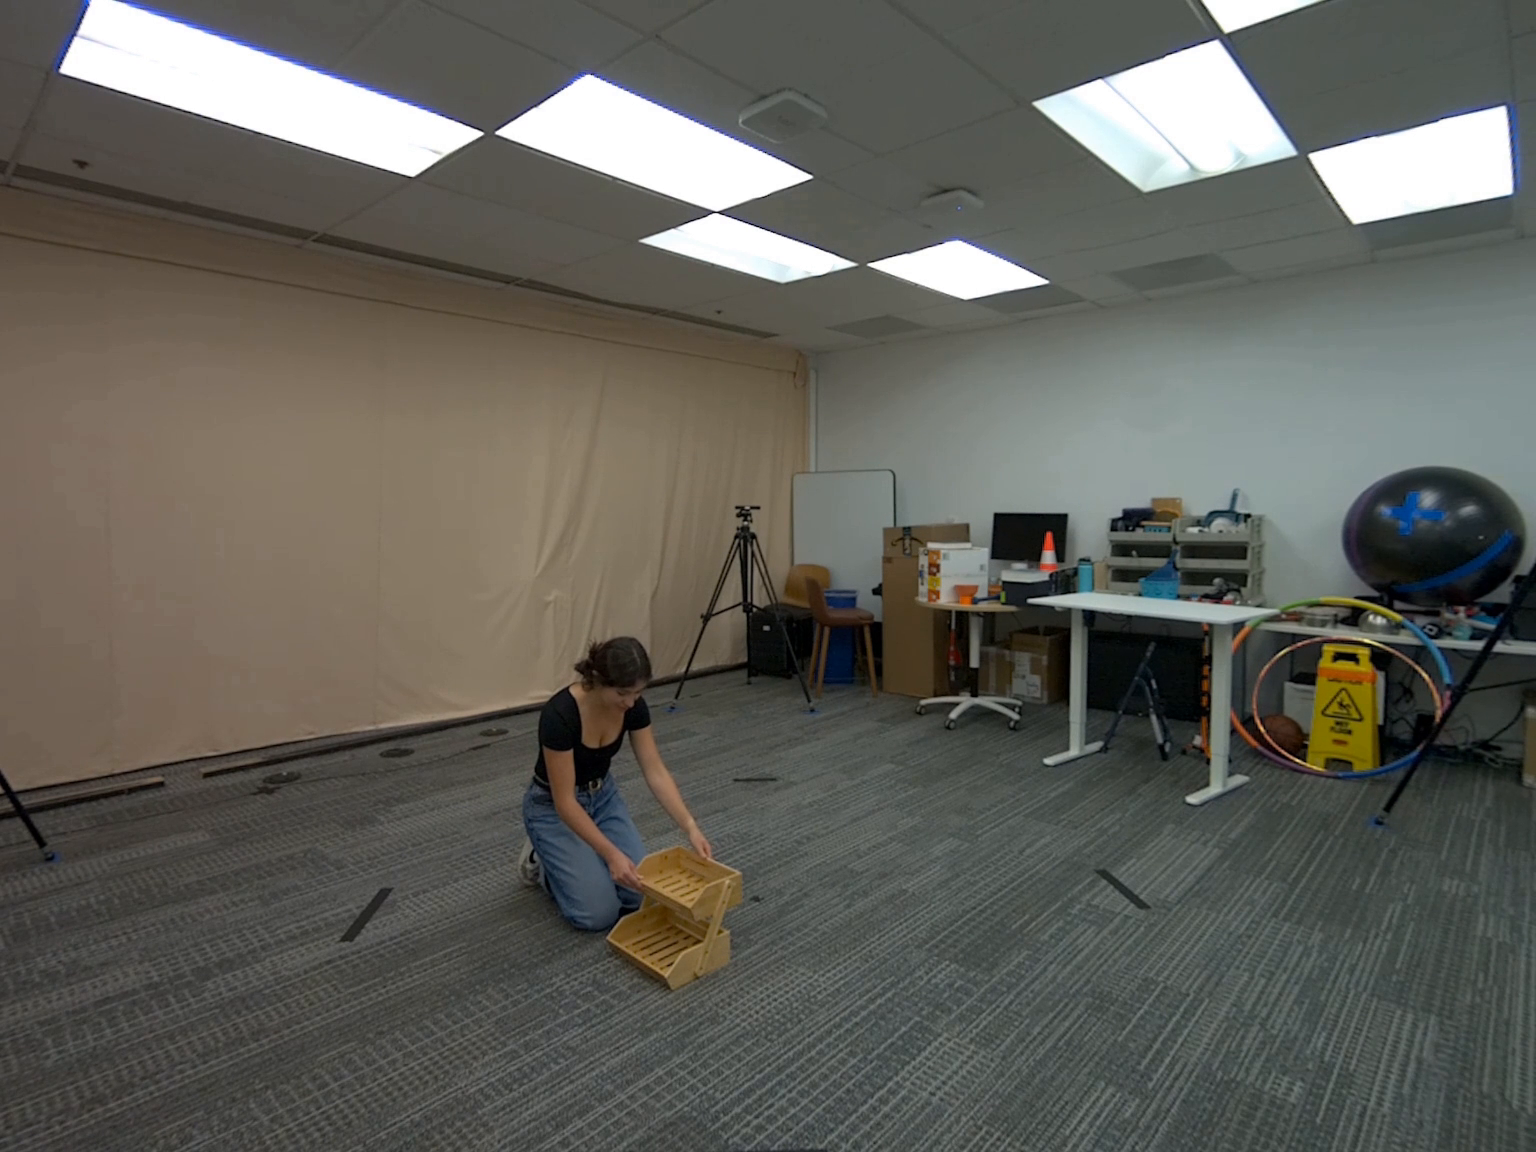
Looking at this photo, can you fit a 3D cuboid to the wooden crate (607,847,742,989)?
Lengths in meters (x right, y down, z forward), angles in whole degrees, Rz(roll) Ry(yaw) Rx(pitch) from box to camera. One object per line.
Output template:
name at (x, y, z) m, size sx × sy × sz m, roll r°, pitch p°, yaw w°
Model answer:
wooden crate at (-0.291, 1.043, 2.608) m, size 0.293 × 0.273 × 0.335 m, roll -3°, pitch 5°, yaw -44°
